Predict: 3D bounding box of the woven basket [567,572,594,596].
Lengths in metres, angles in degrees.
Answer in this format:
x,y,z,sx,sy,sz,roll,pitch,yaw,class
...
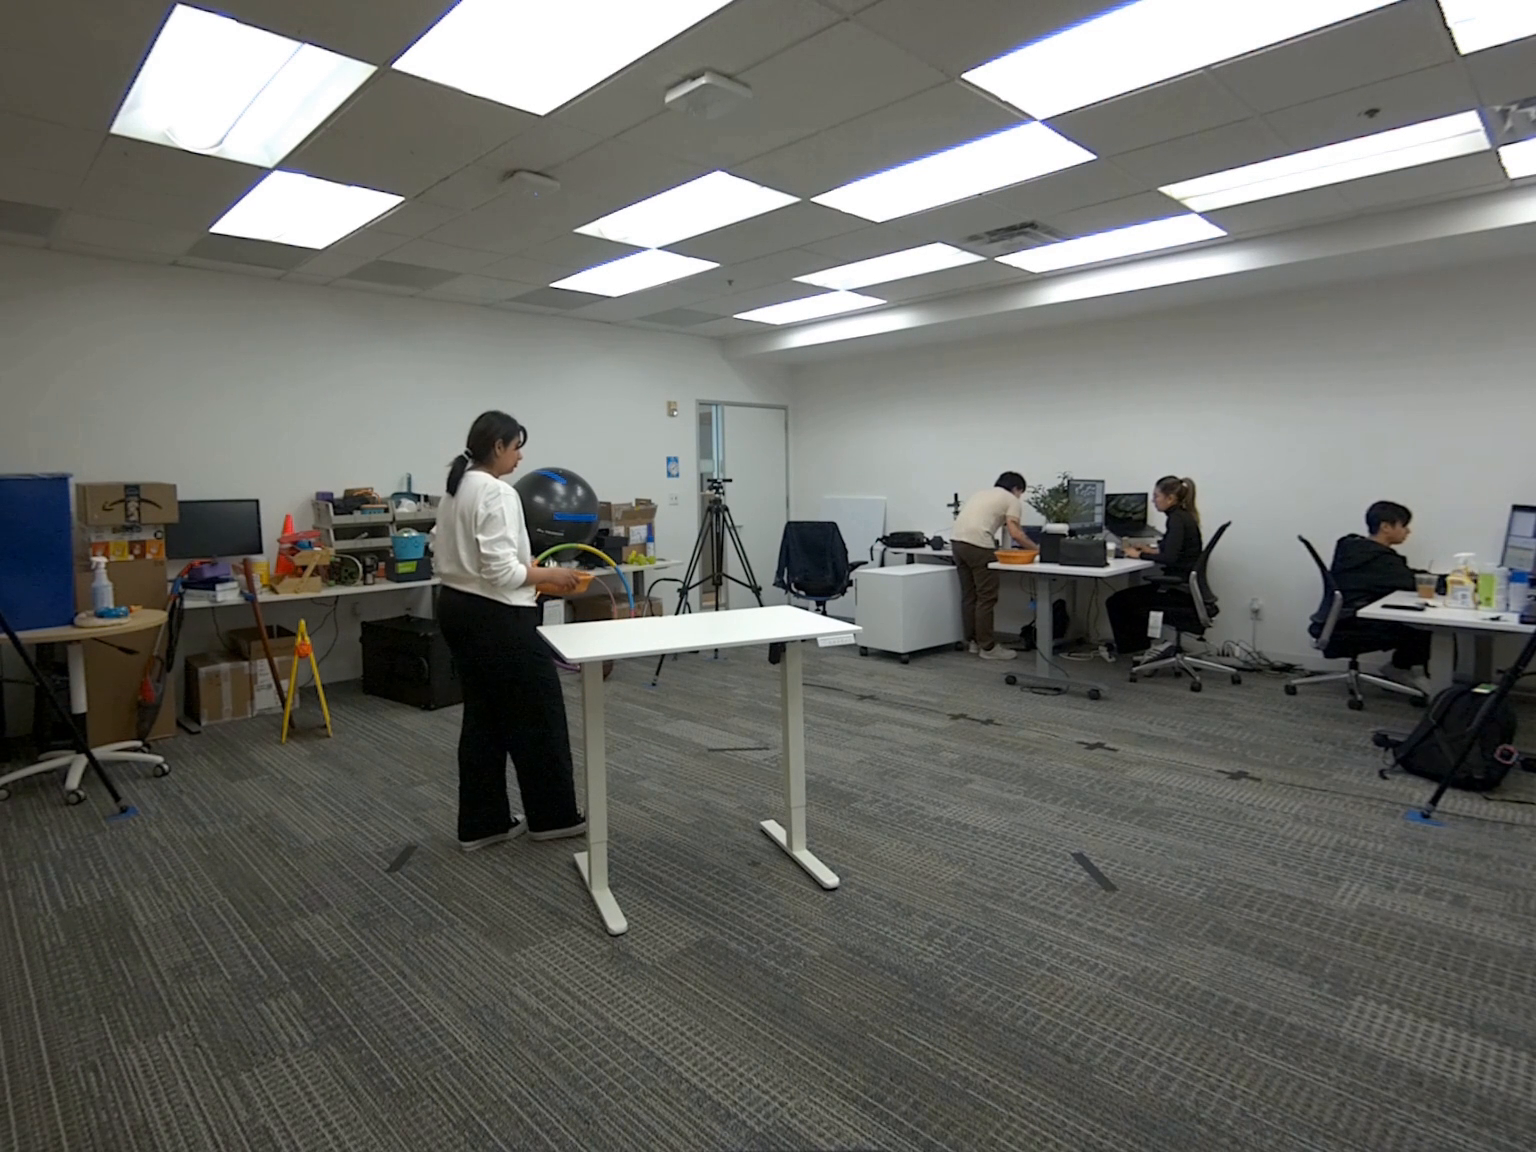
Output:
x,y,z,sx,sy,sz,roll,pitch,yaw,class
-0.896,0.028,3.519,0.361,0.073,0.246,7,7,34,woven basket
